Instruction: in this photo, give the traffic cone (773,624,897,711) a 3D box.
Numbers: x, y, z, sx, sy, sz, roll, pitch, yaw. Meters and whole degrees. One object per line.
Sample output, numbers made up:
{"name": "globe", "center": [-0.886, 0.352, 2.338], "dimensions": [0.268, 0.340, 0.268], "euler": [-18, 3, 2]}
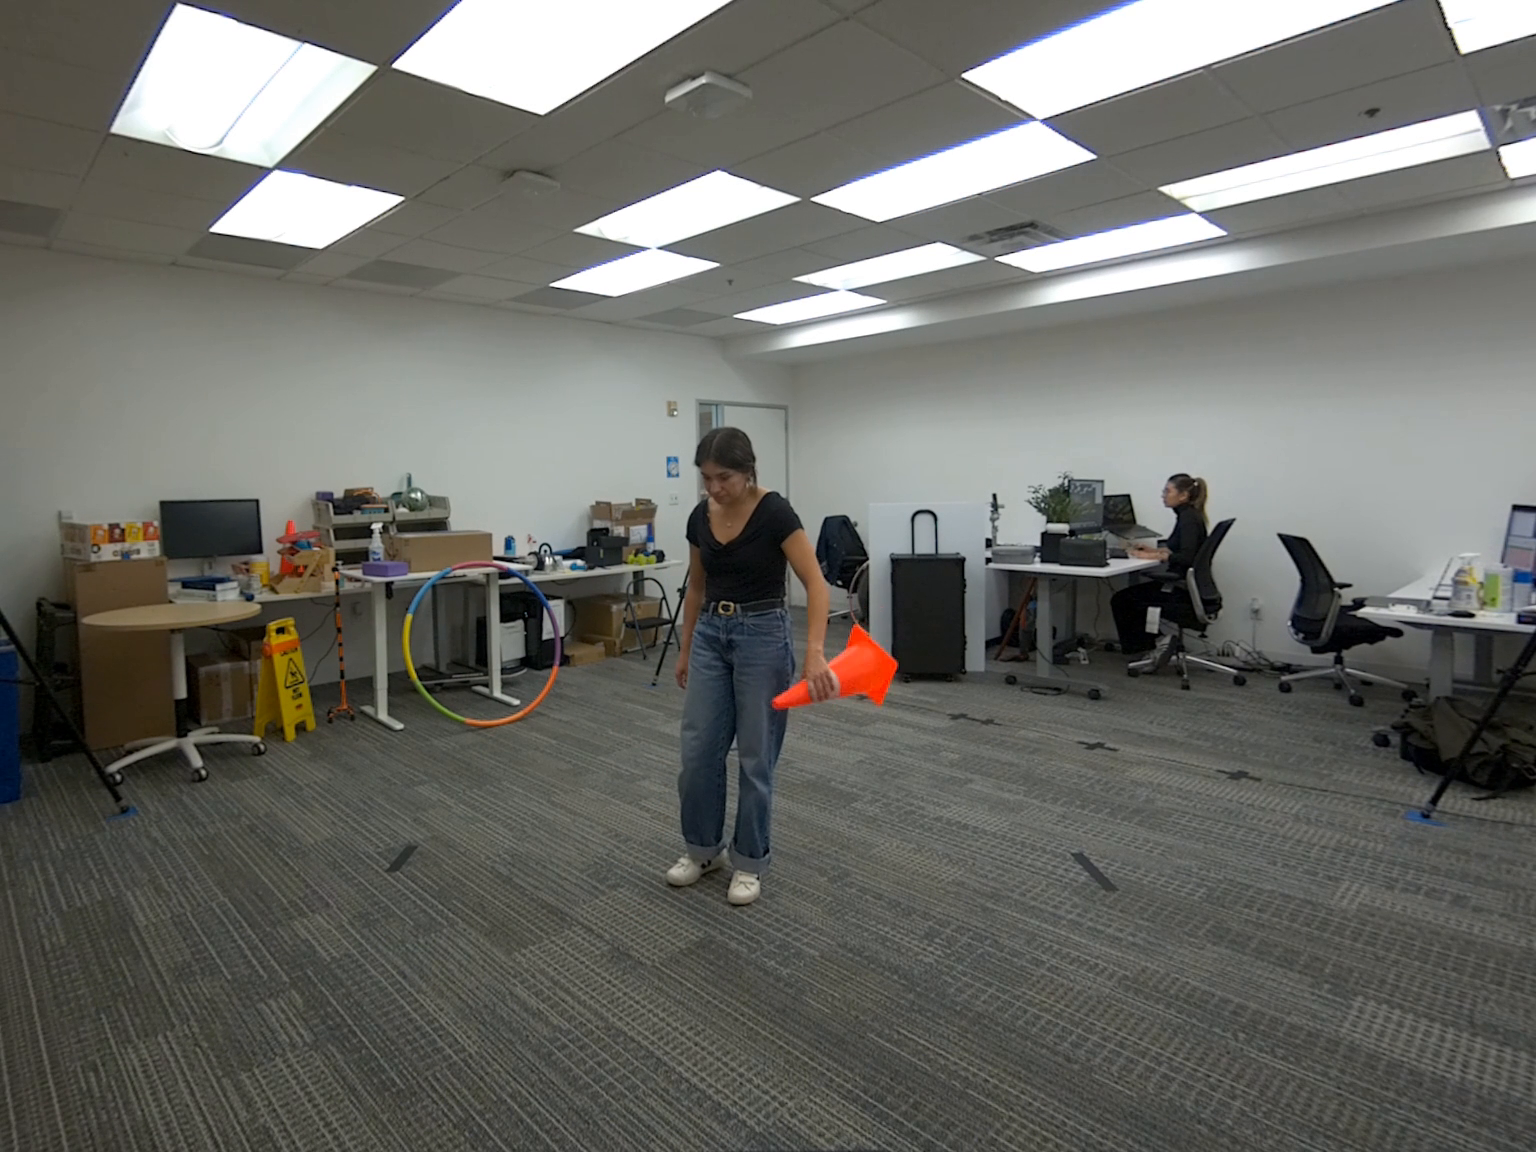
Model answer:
{"name": "traffic cone", "center": [0.158, 0.337, 2.616], "dimensions": [0.377, 0.199, 0.213], "euler": [-20, 44, -33]}
